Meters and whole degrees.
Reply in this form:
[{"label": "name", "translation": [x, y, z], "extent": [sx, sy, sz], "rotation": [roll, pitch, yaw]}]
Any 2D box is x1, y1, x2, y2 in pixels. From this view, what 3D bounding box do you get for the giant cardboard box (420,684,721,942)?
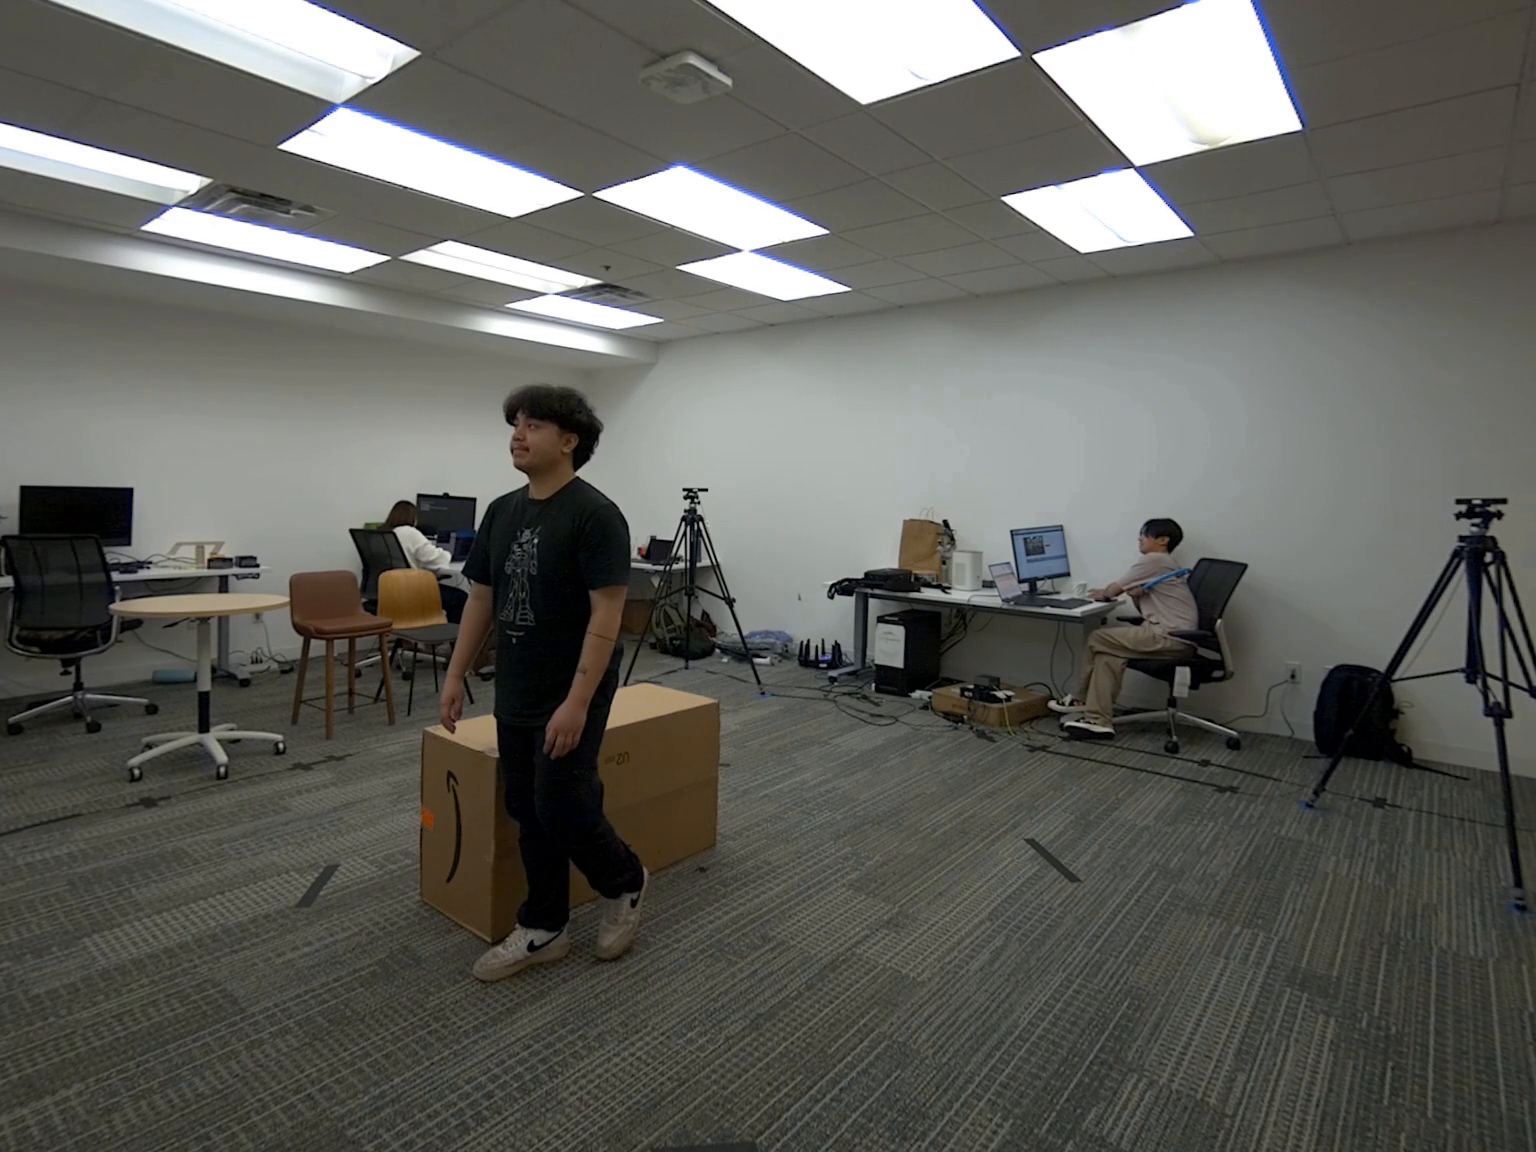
[{"label": "giant cardboard box", "translation": [-0.686, 0.781, 3.074], "extent": [0.461, 0.582, 0.996], "rotation": [3, 5, 40]}]
